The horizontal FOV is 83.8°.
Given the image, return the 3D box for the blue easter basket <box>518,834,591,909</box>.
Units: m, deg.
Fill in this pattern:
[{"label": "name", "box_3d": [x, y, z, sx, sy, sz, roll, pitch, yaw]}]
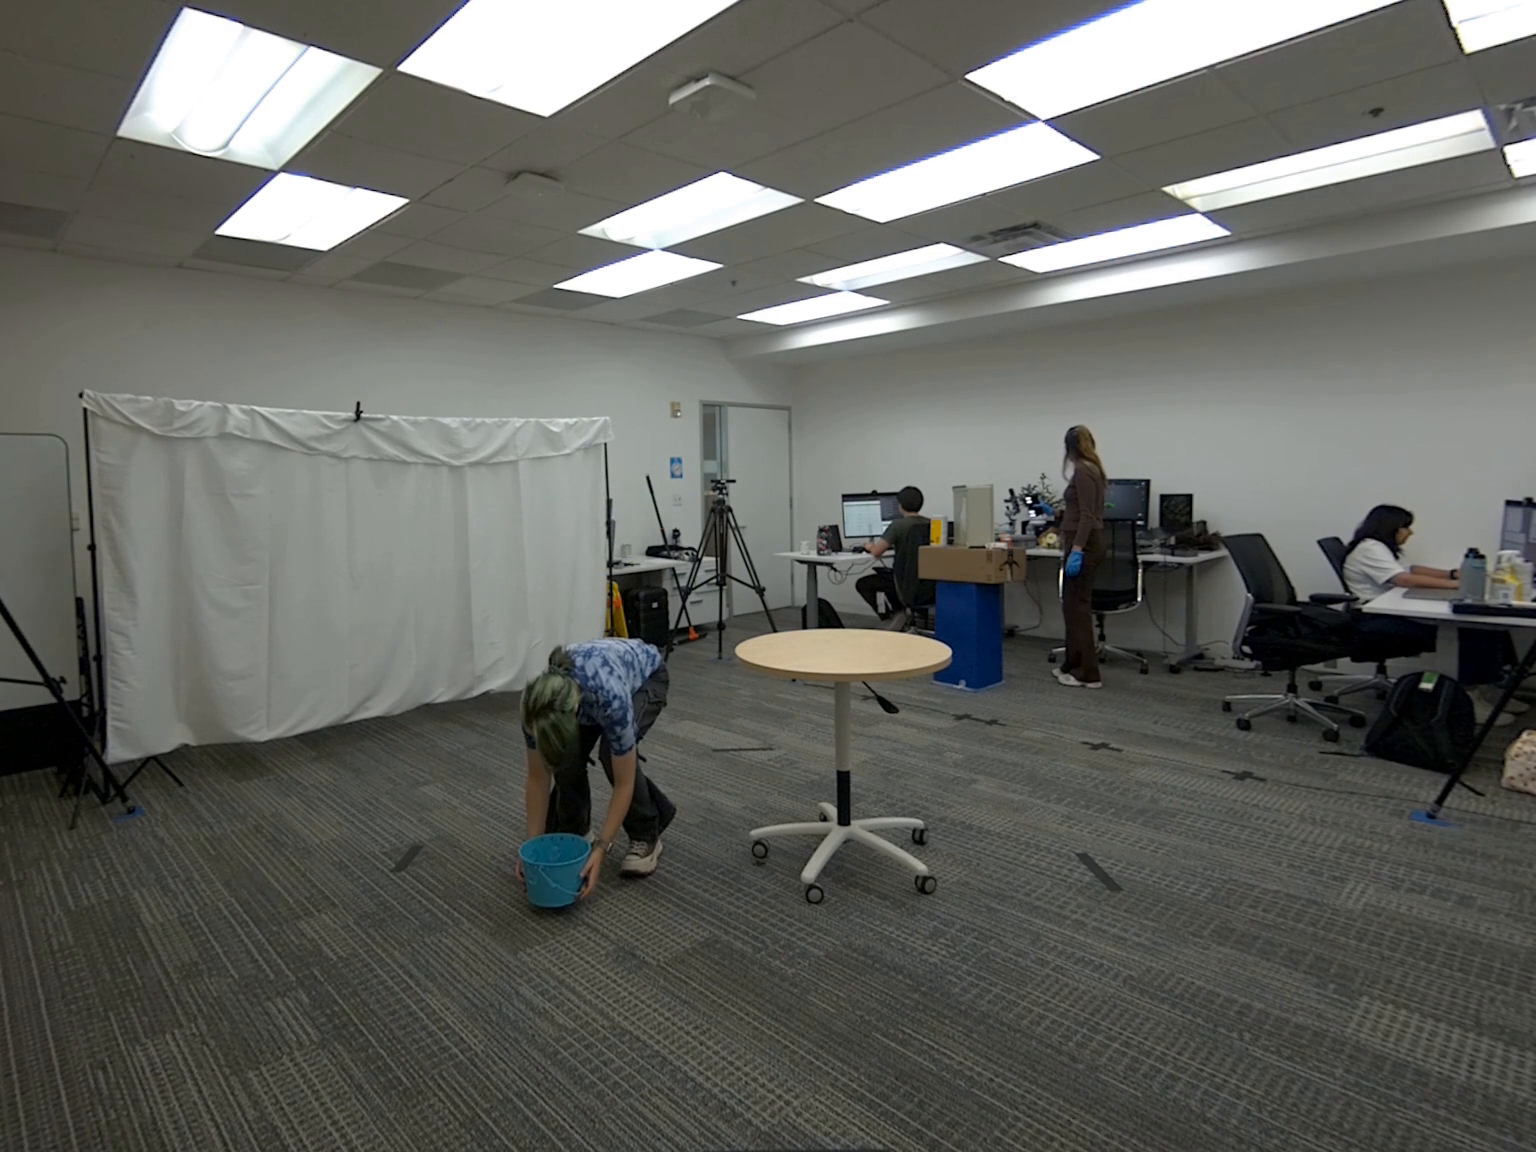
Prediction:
[{"label": "blue easter basket", "box_3d": [-0.698, 0.973, 2.808, 0.243, 0.155, 0.245, 2, 4, -2]}]
